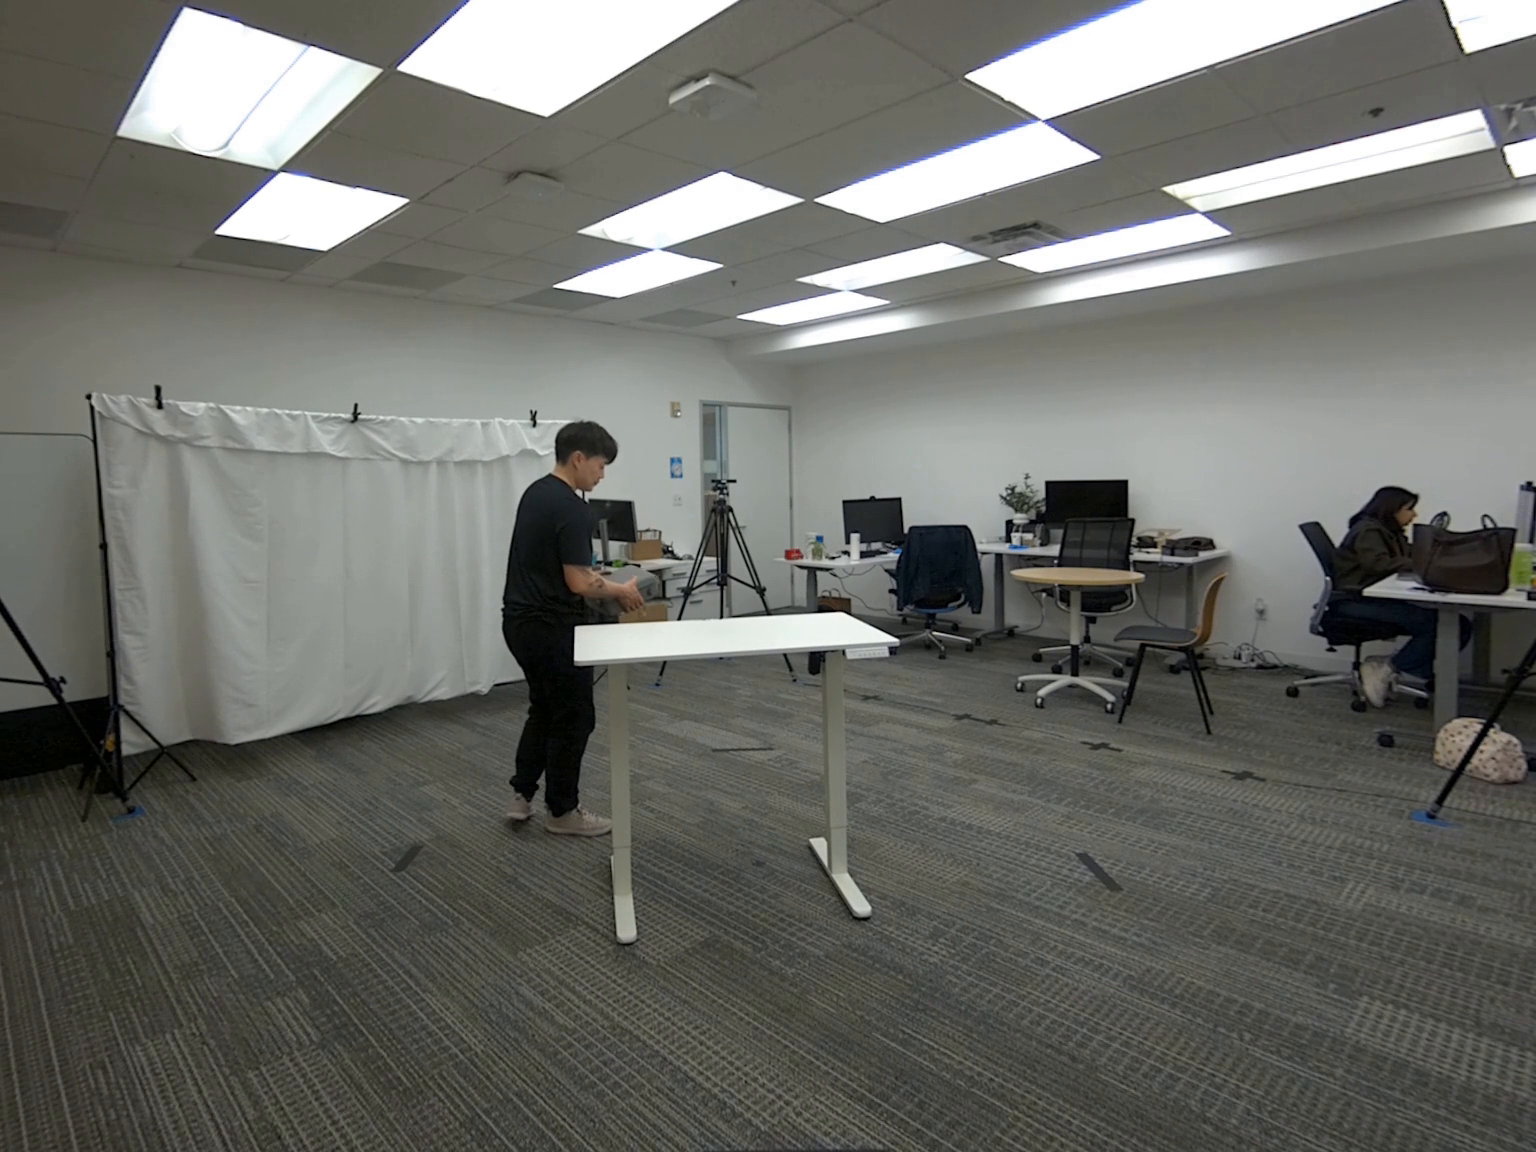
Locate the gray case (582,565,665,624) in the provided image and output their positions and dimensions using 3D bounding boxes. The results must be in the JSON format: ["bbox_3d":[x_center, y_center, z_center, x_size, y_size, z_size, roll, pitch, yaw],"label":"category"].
[{"bbox_3d":[-0.622,0.055,3.551,0.257,0.102,0.265,-19,19,-24],"label":"gray case"}]
